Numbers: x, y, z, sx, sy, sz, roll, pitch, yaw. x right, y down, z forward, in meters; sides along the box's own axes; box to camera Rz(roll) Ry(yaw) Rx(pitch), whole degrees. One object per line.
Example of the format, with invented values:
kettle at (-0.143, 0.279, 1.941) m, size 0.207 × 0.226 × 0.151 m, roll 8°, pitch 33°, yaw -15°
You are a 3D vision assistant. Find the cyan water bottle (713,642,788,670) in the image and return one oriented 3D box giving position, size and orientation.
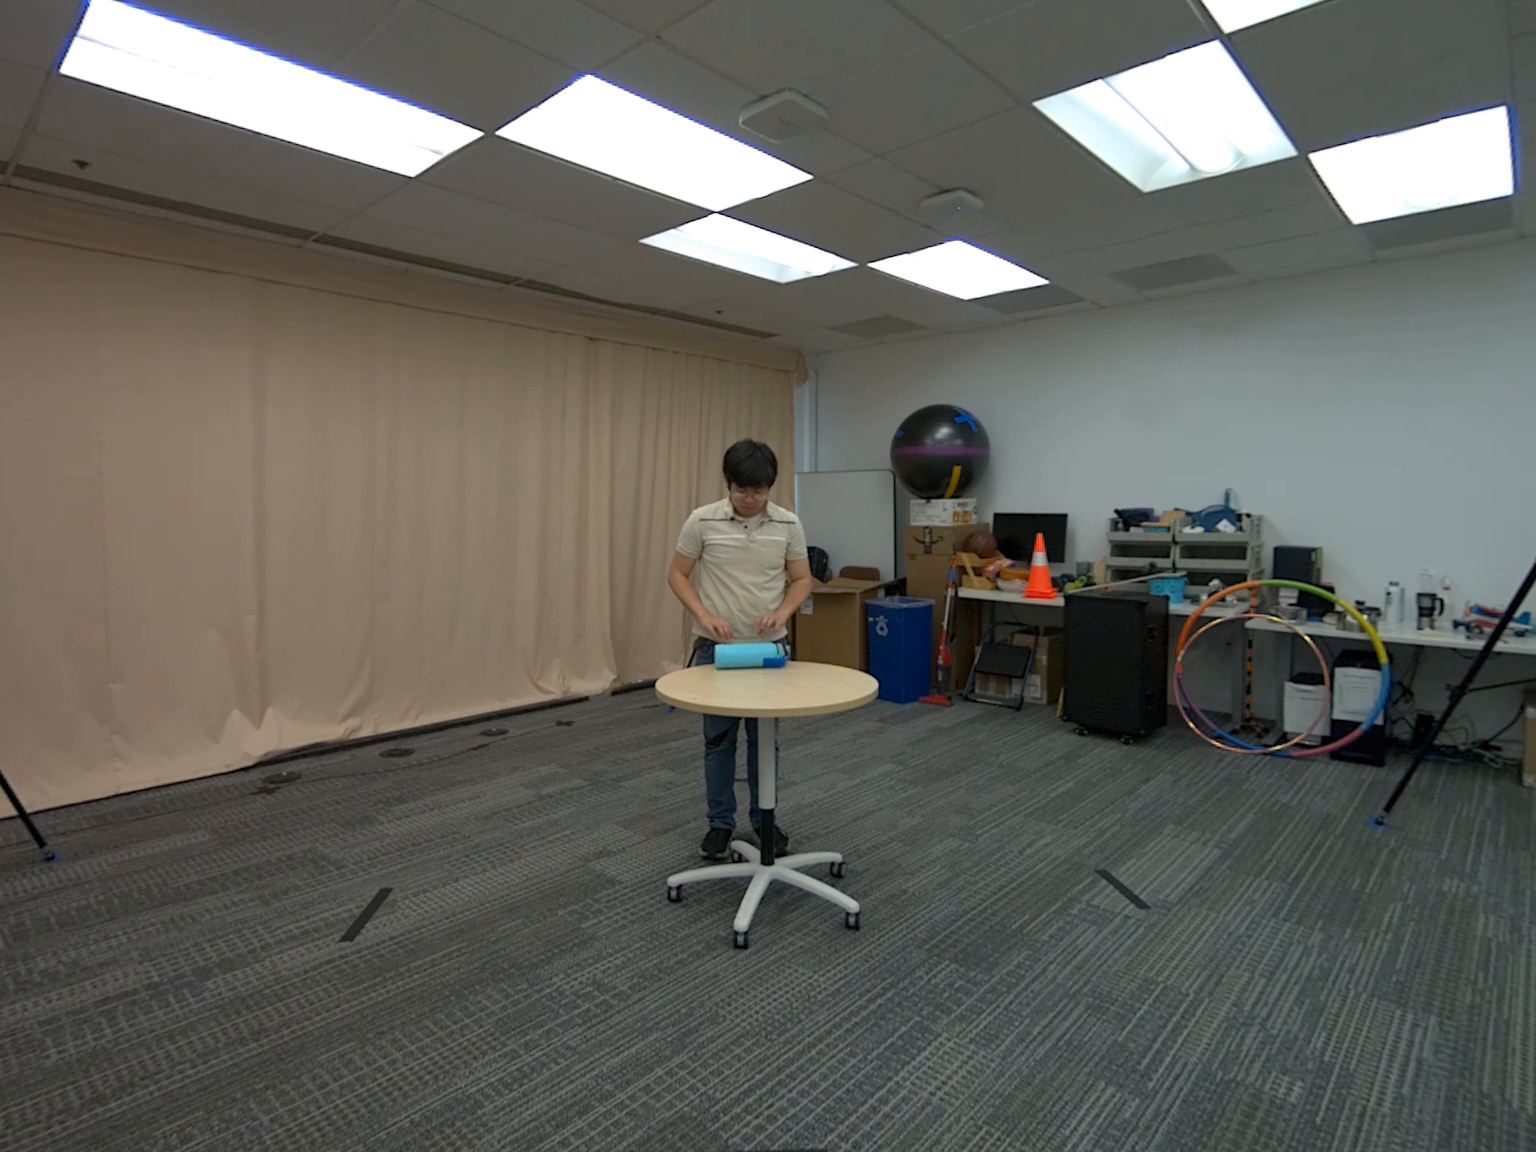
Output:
cyan water bottle at (-0.056, 0.298, 3.168) m, size 0.282 × 0.092 × 0.093 m, roll -1°, pitch 4°, yaw -4°
